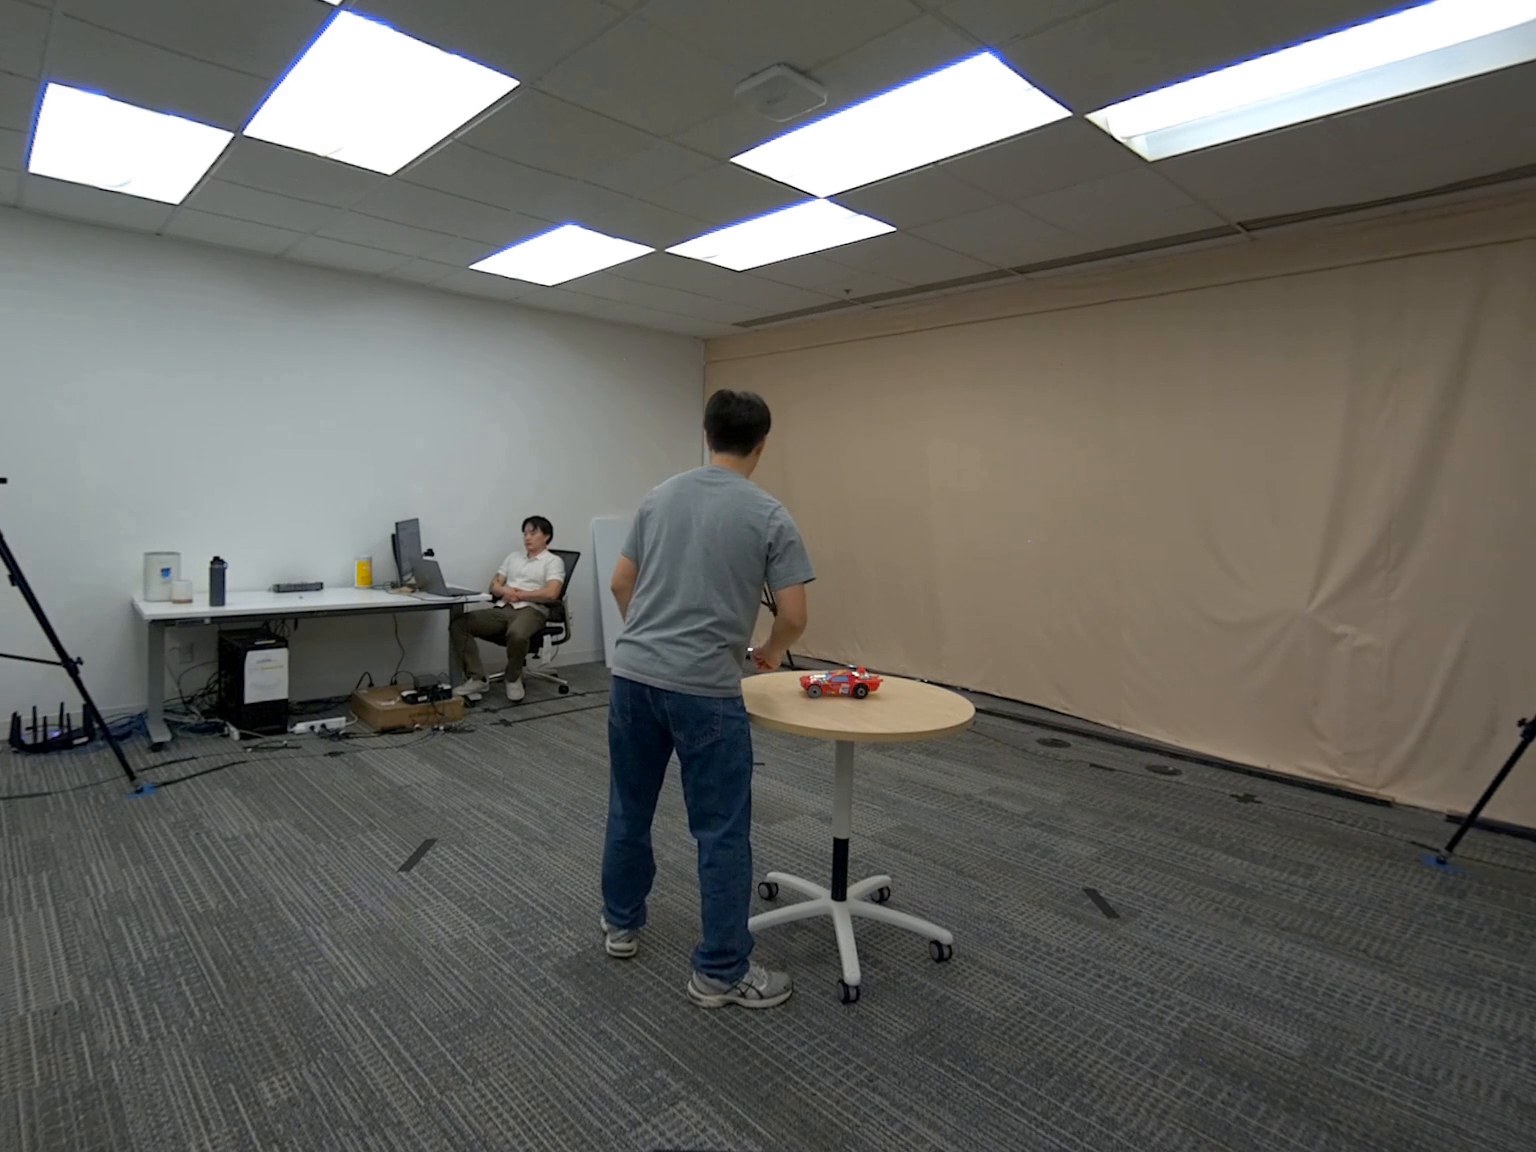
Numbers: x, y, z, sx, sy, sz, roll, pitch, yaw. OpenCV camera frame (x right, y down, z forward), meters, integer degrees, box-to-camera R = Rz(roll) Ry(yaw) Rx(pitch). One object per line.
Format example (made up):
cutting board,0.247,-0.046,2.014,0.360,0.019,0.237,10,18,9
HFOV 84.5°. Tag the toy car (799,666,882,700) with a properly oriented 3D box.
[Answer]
toy car,0.230,0.344,2.631,0.254,0.083,0.131,-9,6,-2
